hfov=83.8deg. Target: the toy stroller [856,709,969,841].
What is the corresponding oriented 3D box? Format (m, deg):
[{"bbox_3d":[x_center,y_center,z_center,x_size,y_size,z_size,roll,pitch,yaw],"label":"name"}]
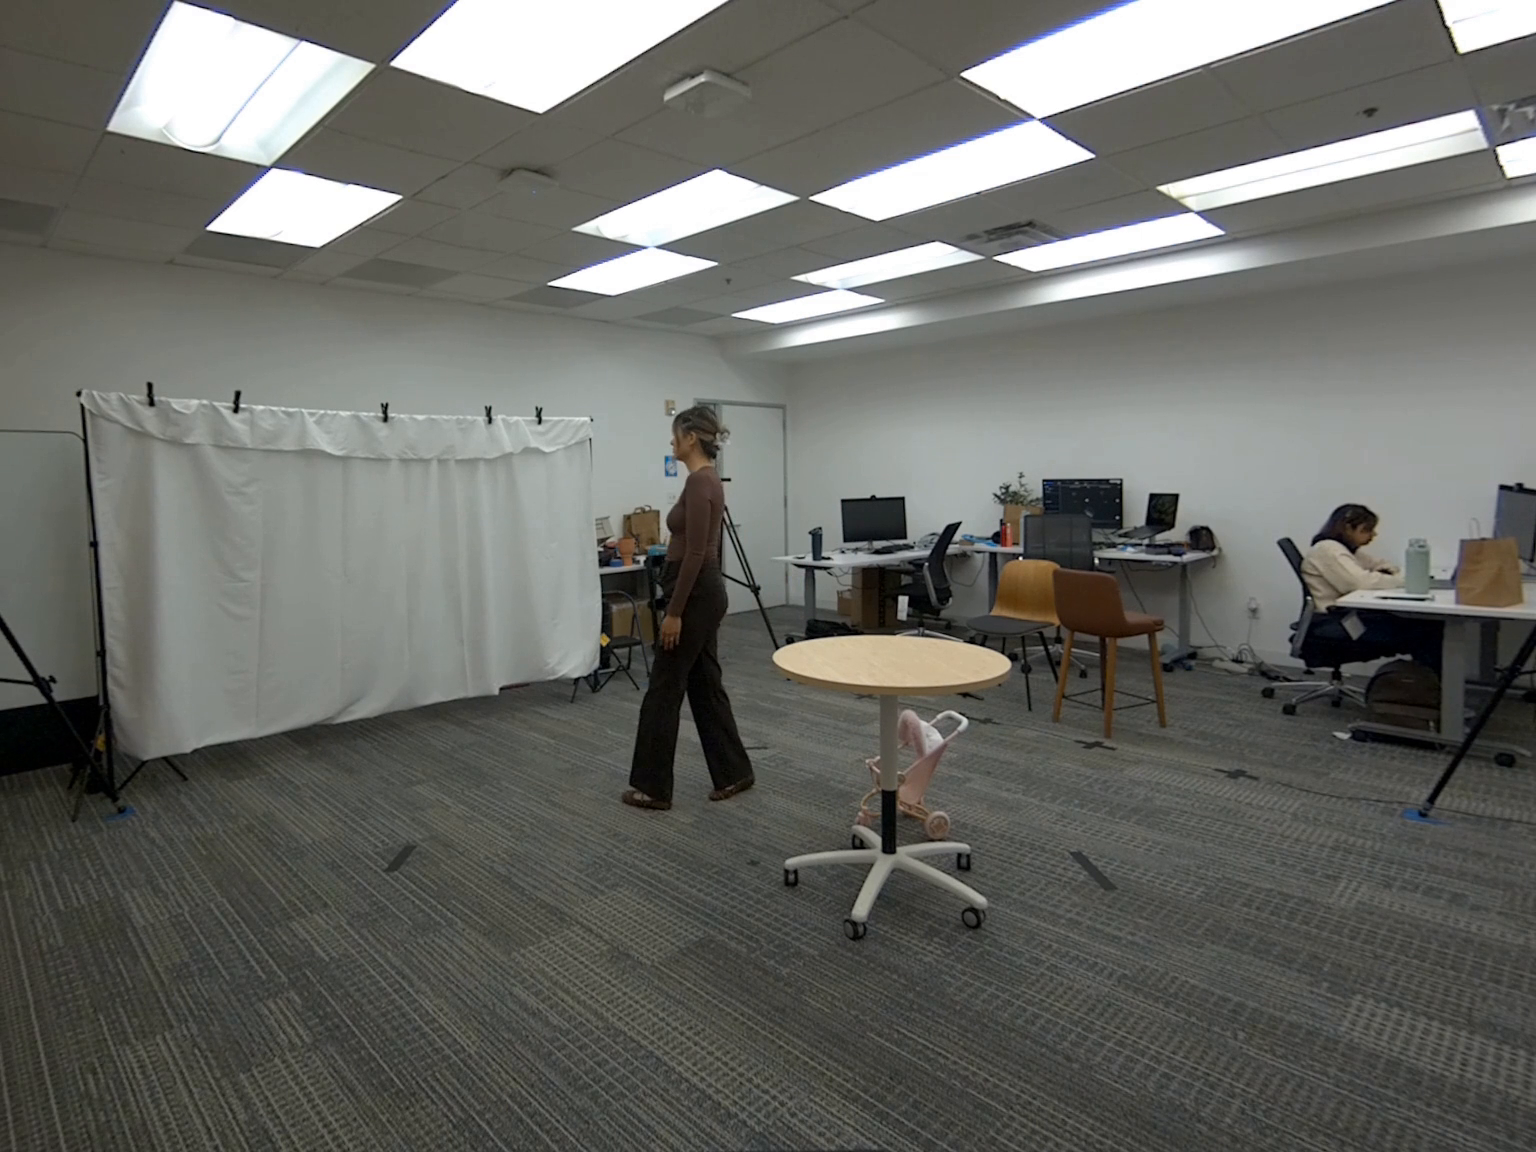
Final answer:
[{"bbox_3d":[0.552,0.773,3.377,0.338,0.535,0.284,13,1,-9],"label":"toy stroller"}]
